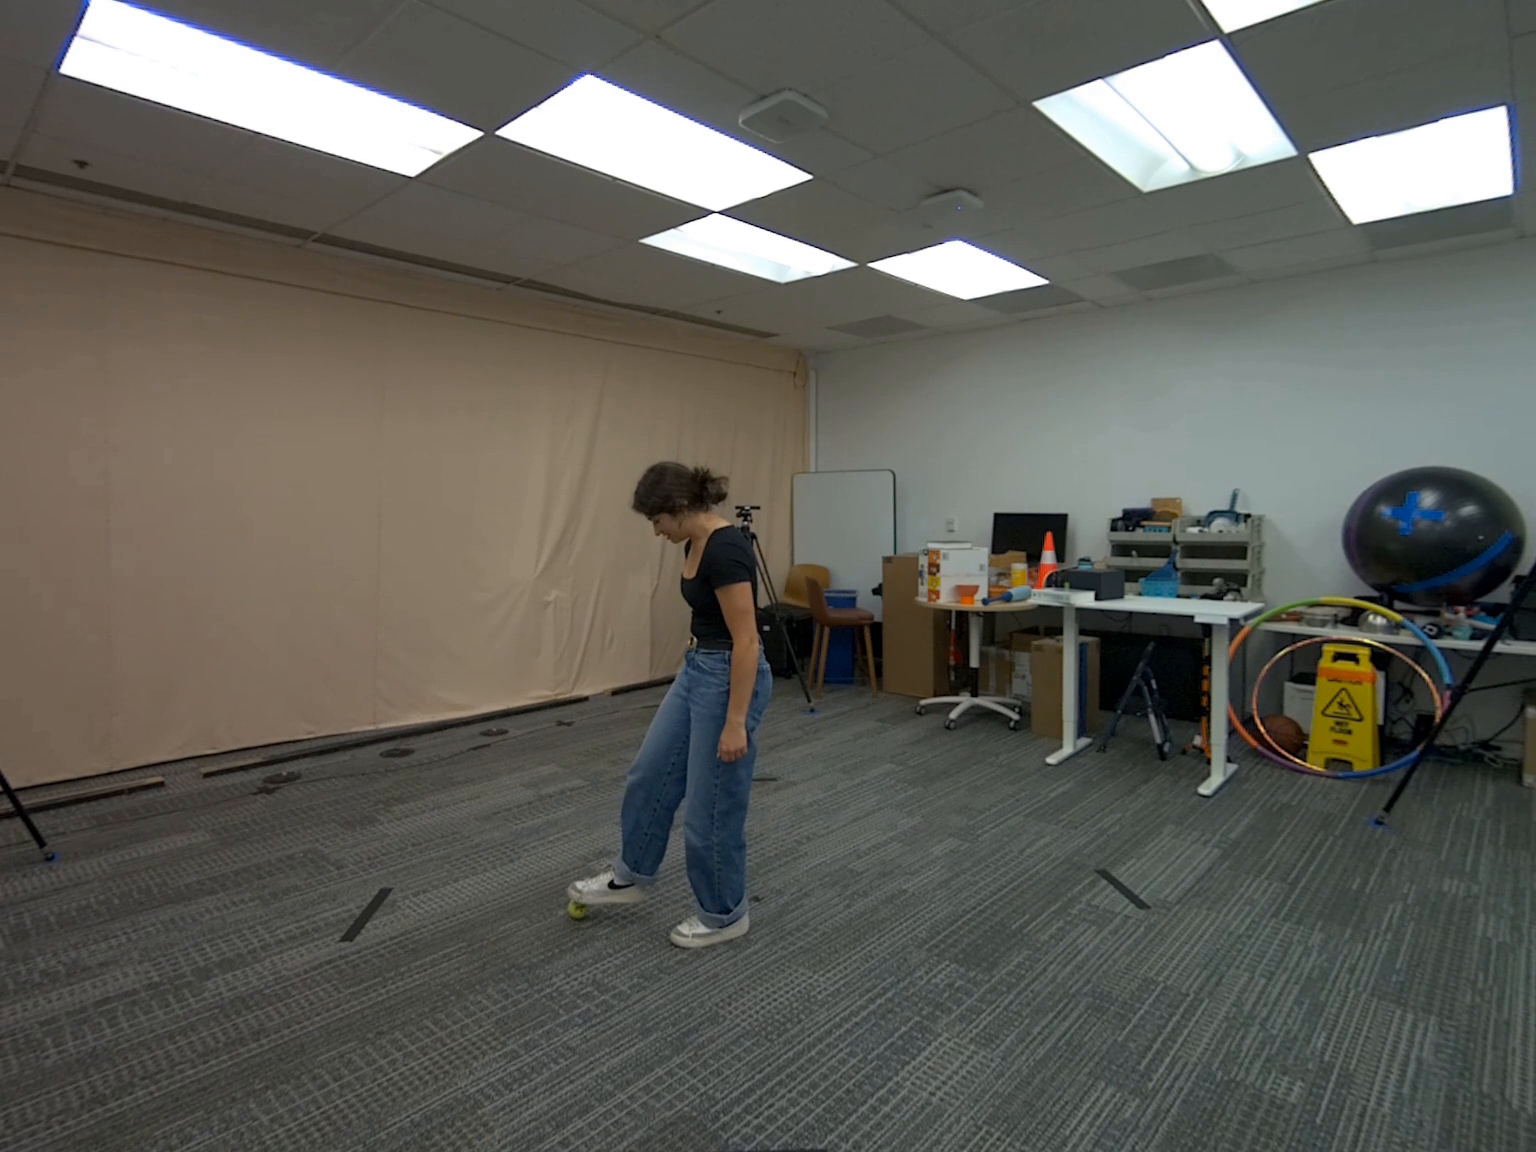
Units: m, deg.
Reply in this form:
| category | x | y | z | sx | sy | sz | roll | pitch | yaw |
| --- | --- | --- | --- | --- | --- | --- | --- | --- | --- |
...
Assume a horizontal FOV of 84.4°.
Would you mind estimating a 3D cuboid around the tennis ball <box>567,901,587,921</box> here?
| category | x | y | z | sx | sy | sz | roll | pitch | yaw |
| --- | --- | --- | --- | --- | --- | --- | --- | --- | --- |
| tennis ball | -0.646 | 1.119 | 2.861 | 0.066 | 0.066 | 0.067 | 0 | 4 | -2 |
